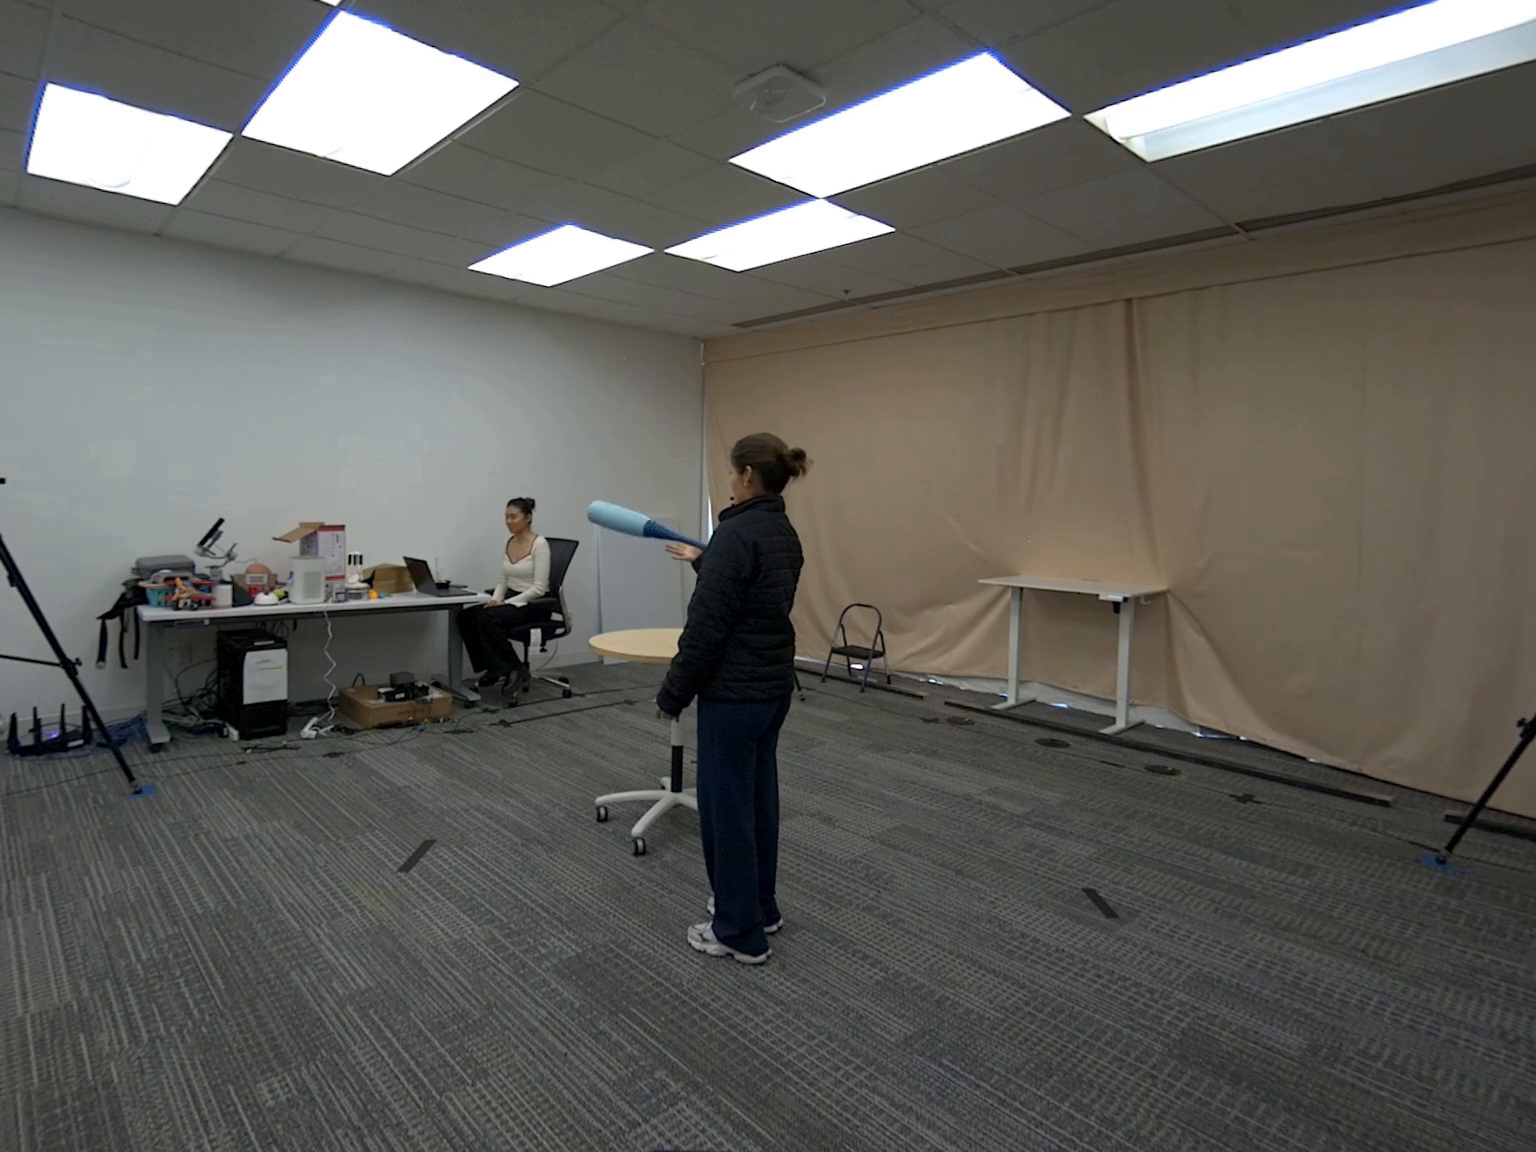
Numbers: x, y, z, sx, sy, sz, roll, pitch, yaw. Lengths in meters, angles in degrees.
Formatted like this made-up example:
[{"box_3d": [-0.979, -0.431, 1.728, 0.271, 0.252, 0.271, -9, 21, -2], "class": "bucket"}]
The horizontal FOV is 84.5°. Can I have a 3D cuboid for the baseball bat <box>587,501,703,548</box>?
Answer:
[{"box_3d": [-0.402, -0.118, 2.965, 0.555, 0.088, 0.087, 19, 11, 23], "class": "baseball bat"}]
